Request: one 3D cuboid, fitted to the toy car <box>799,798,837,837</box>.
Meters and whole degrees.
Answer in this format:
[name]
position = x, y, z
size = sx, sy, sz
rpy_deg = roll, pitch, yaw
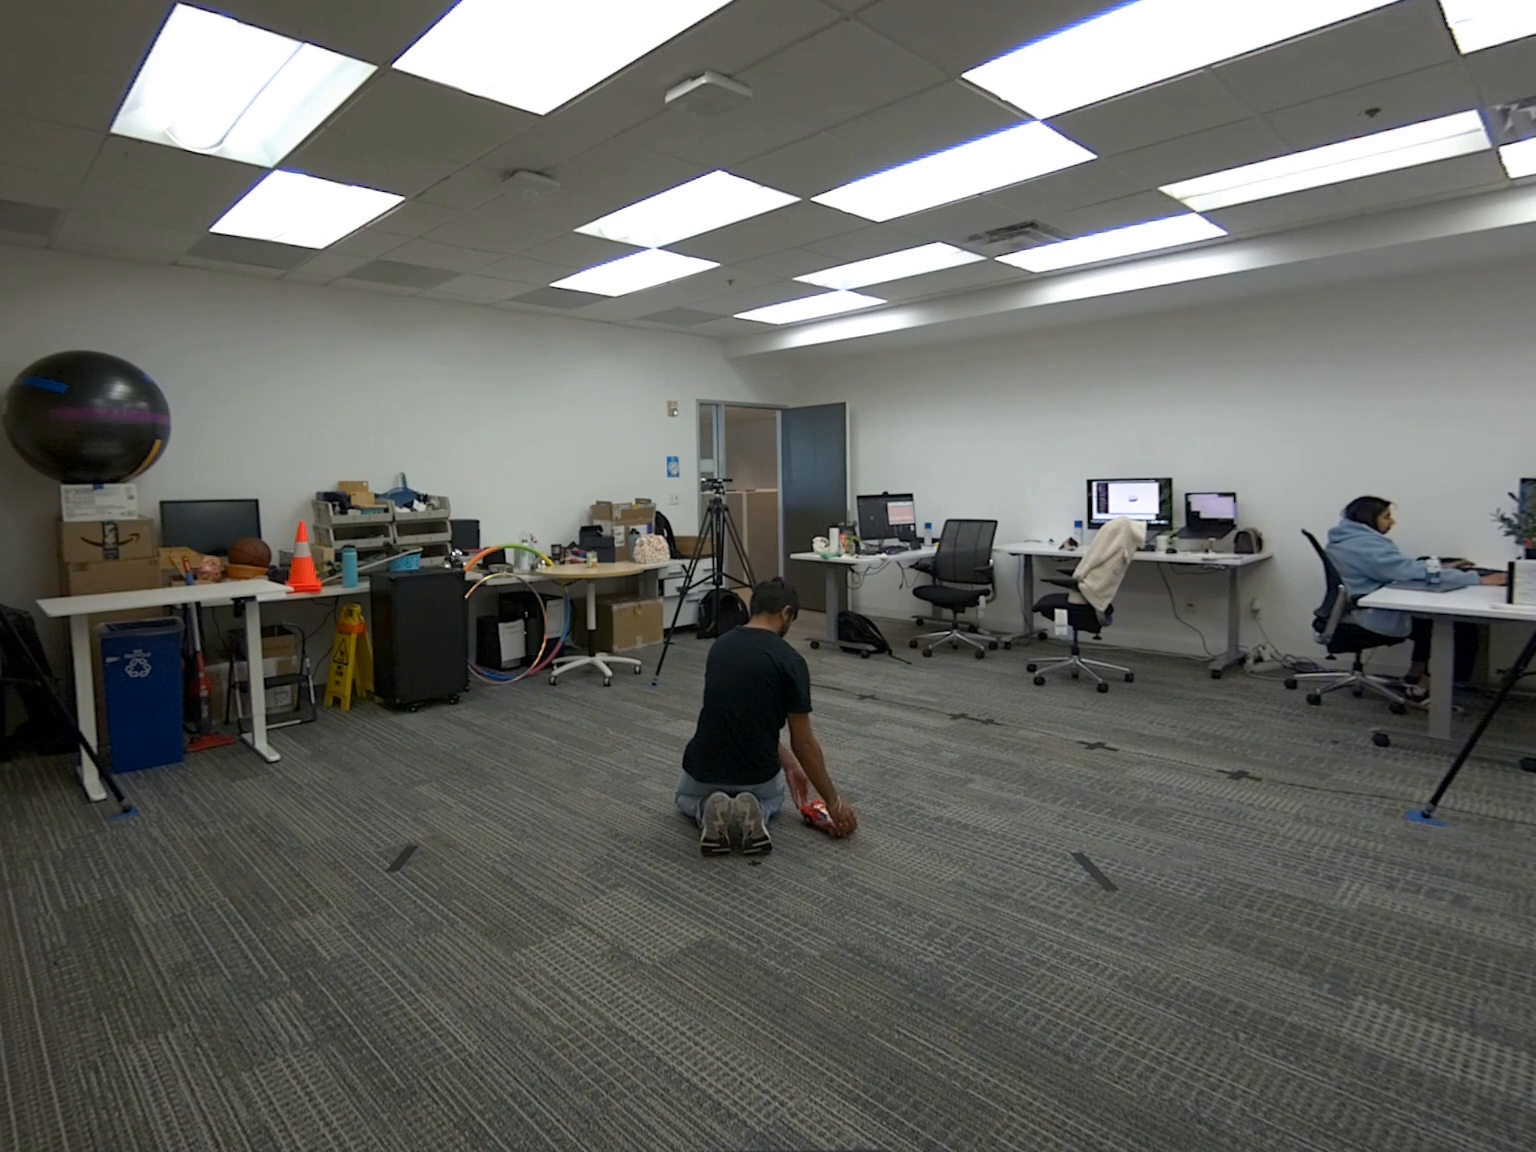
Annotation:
[toy car]
position = 0.233, 0.964, 3.421
size = 0.127, 0.082, 0.264
rpy_deg = -3, 17, -35
